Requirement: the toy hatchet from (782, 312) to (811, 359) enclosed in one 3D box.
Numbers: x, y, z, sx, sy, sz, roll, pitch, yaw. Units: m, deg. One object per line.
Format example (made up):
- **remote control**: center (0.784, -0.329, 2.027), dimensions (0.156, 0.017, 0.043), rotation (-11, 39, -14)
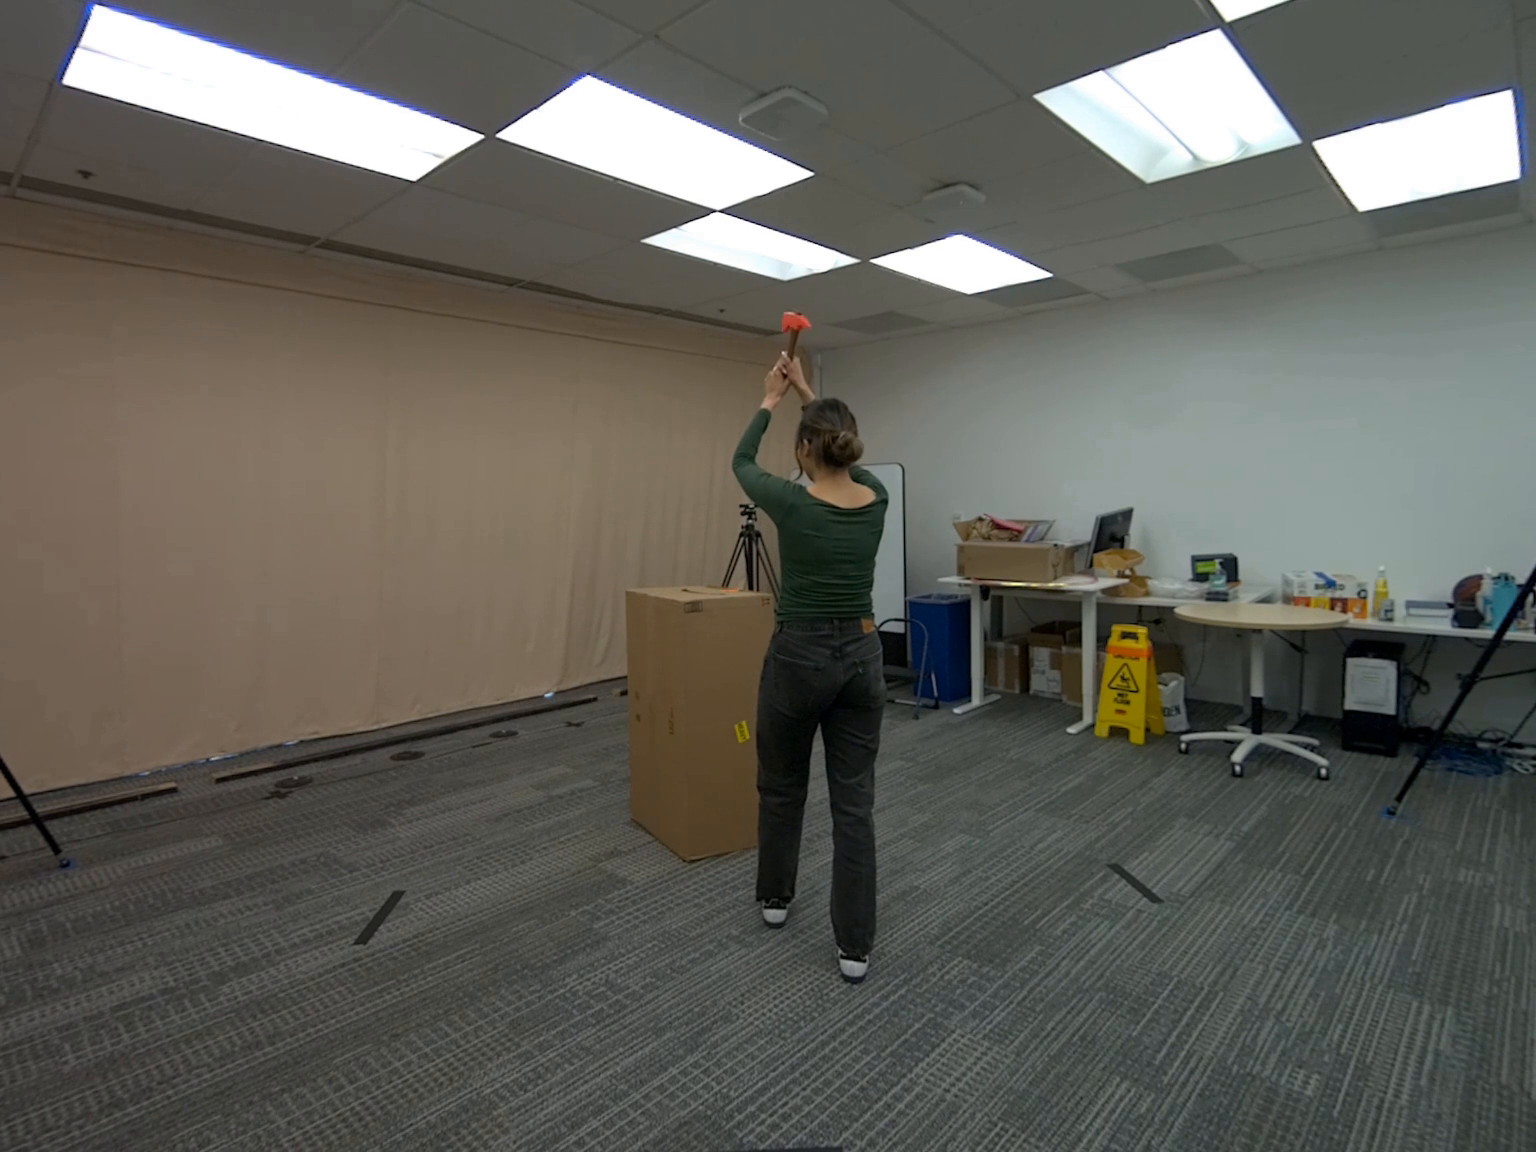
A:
- **toy hatchet**: center (0.052, -0.729, 2.720), dimensions (0.029, 0.135, 0.269), rotation (-12, -35, -38)
